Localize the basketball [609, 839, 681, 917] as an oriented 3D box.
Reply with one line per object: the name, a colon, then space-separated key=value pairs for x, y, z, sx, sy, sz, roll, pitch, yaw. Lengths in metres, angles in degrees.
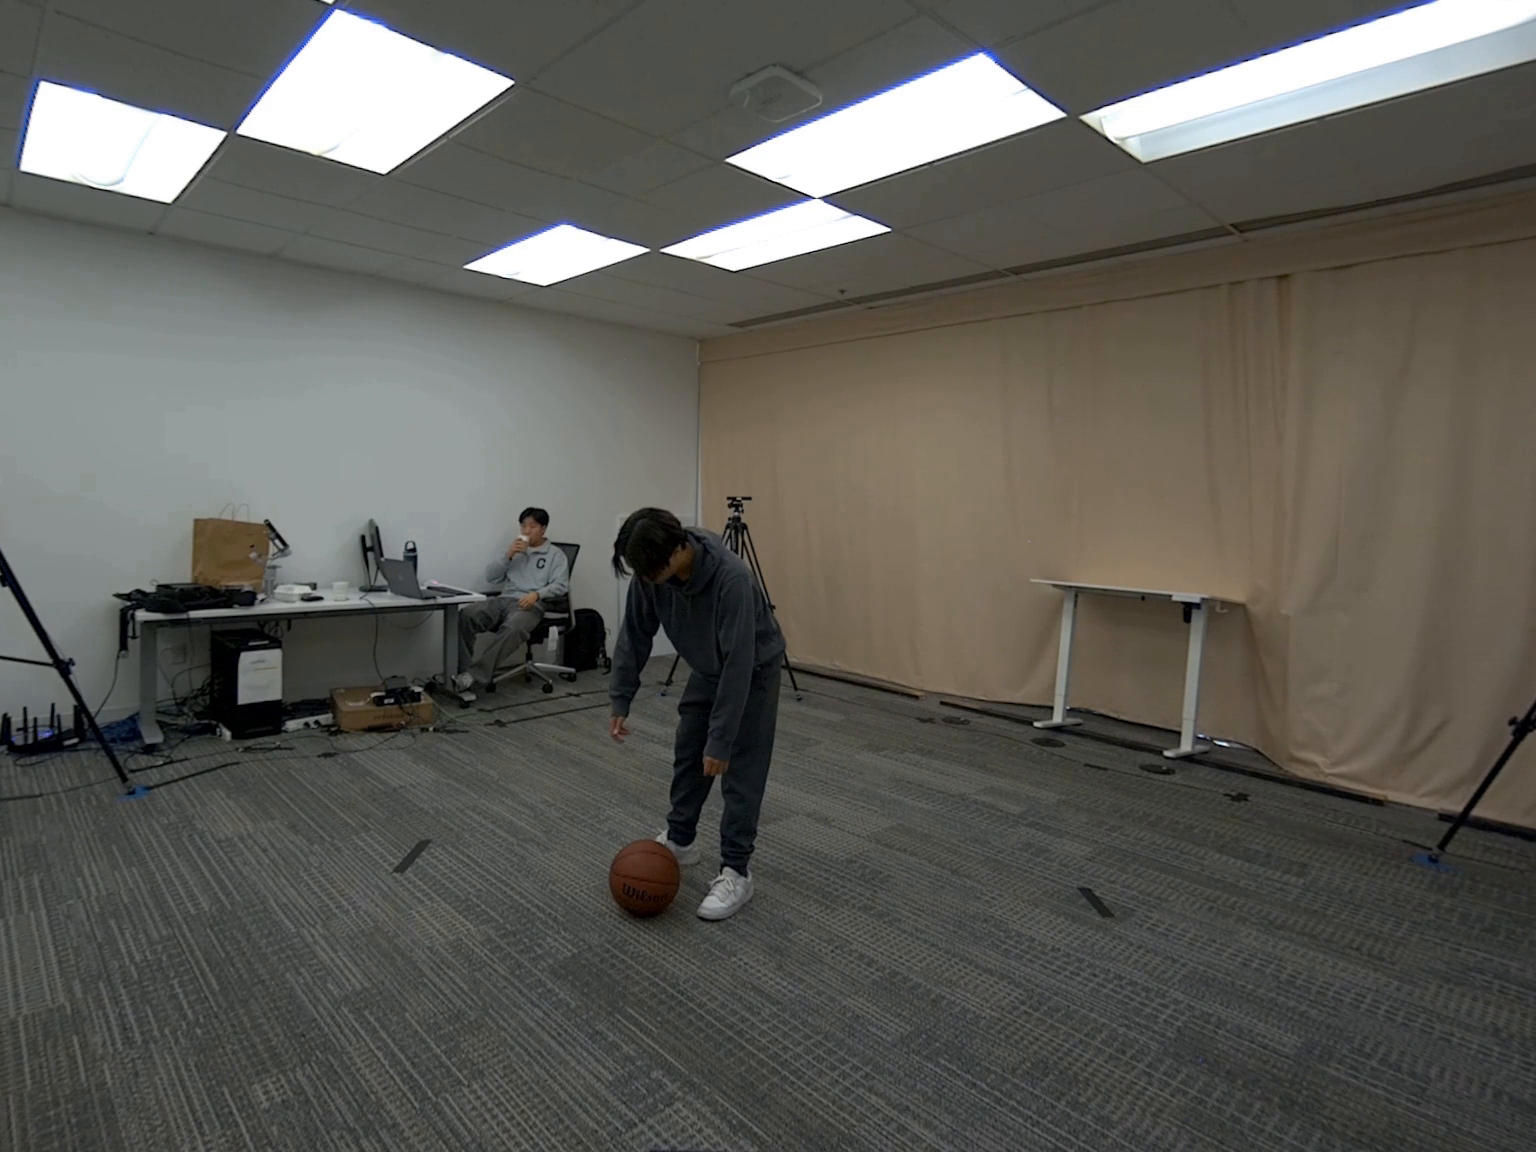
basketball: x=-0.416 y=1.008 z=2.809 sx=0.236 sy=0.235 sz=0.237 roll=1 pitch=4 yaw=-1
